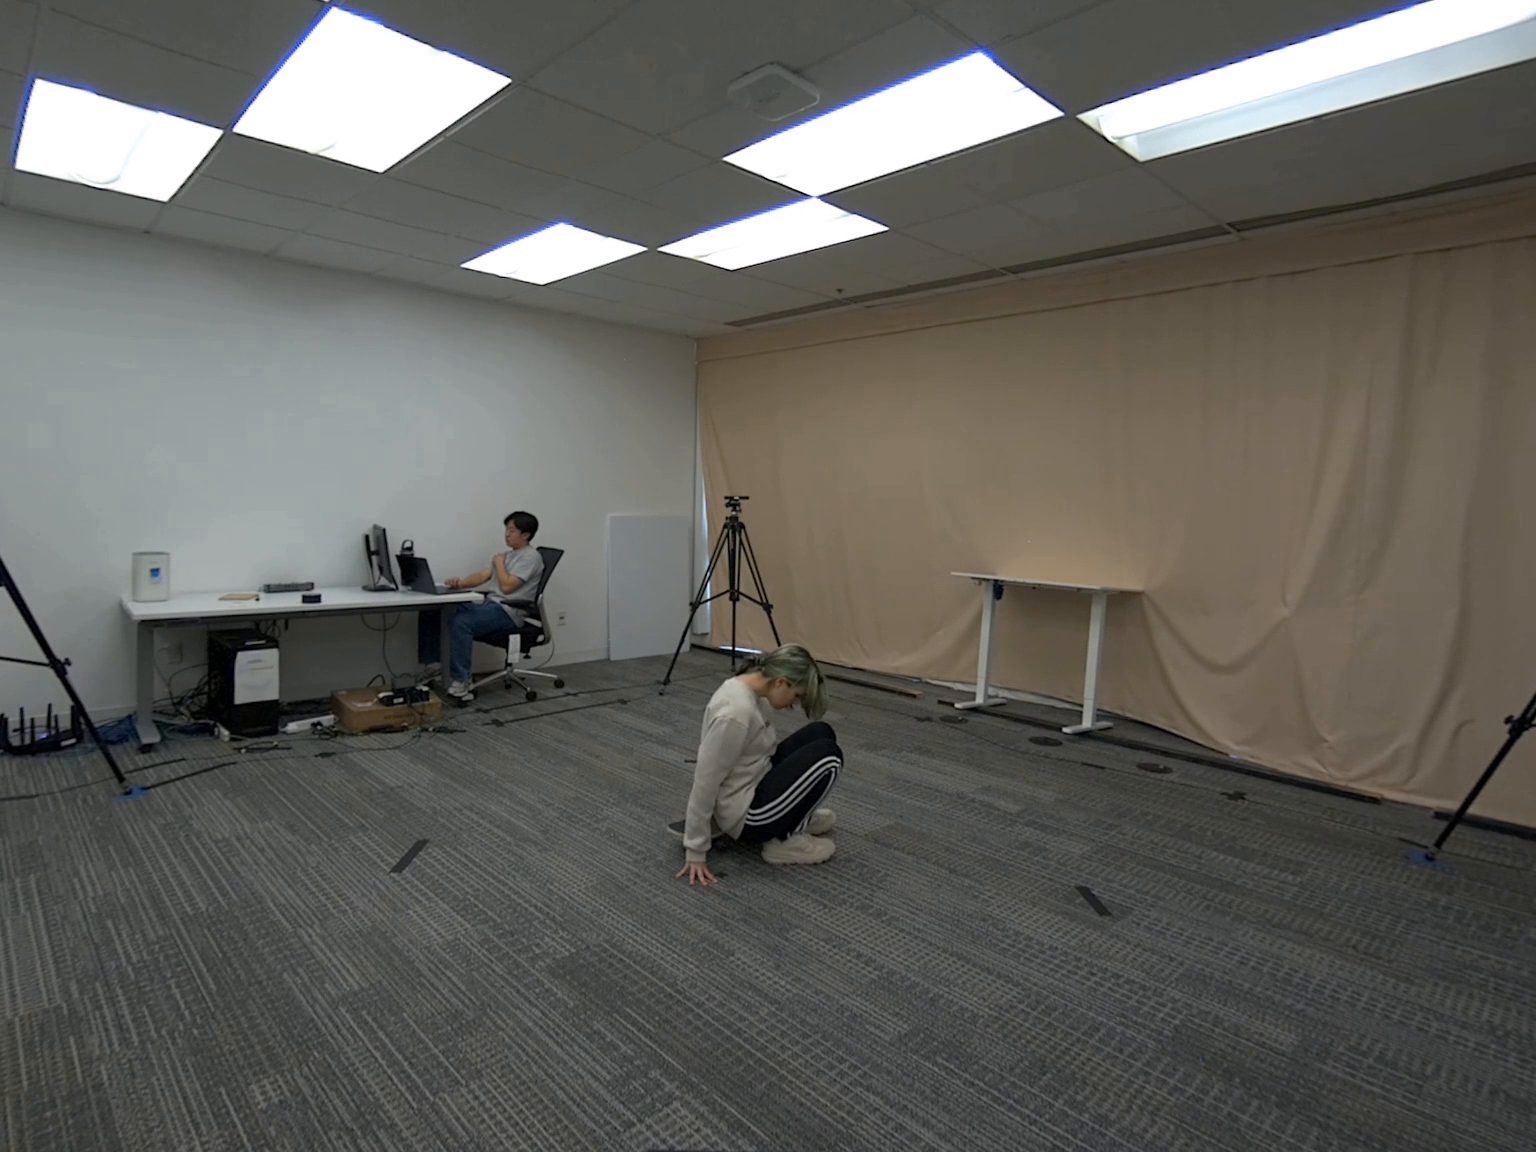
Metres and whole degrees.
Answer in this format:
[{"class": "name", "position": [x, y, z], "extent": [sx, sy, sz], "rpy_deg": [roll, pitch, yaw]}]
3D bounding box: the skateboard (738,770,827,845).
[{"class": "skateboard", "position": [-0.113, 1.010, 3.523], "extent": [0.198, 0.110, 0.768], "rpy_deg": [7, 8, 43]}]
